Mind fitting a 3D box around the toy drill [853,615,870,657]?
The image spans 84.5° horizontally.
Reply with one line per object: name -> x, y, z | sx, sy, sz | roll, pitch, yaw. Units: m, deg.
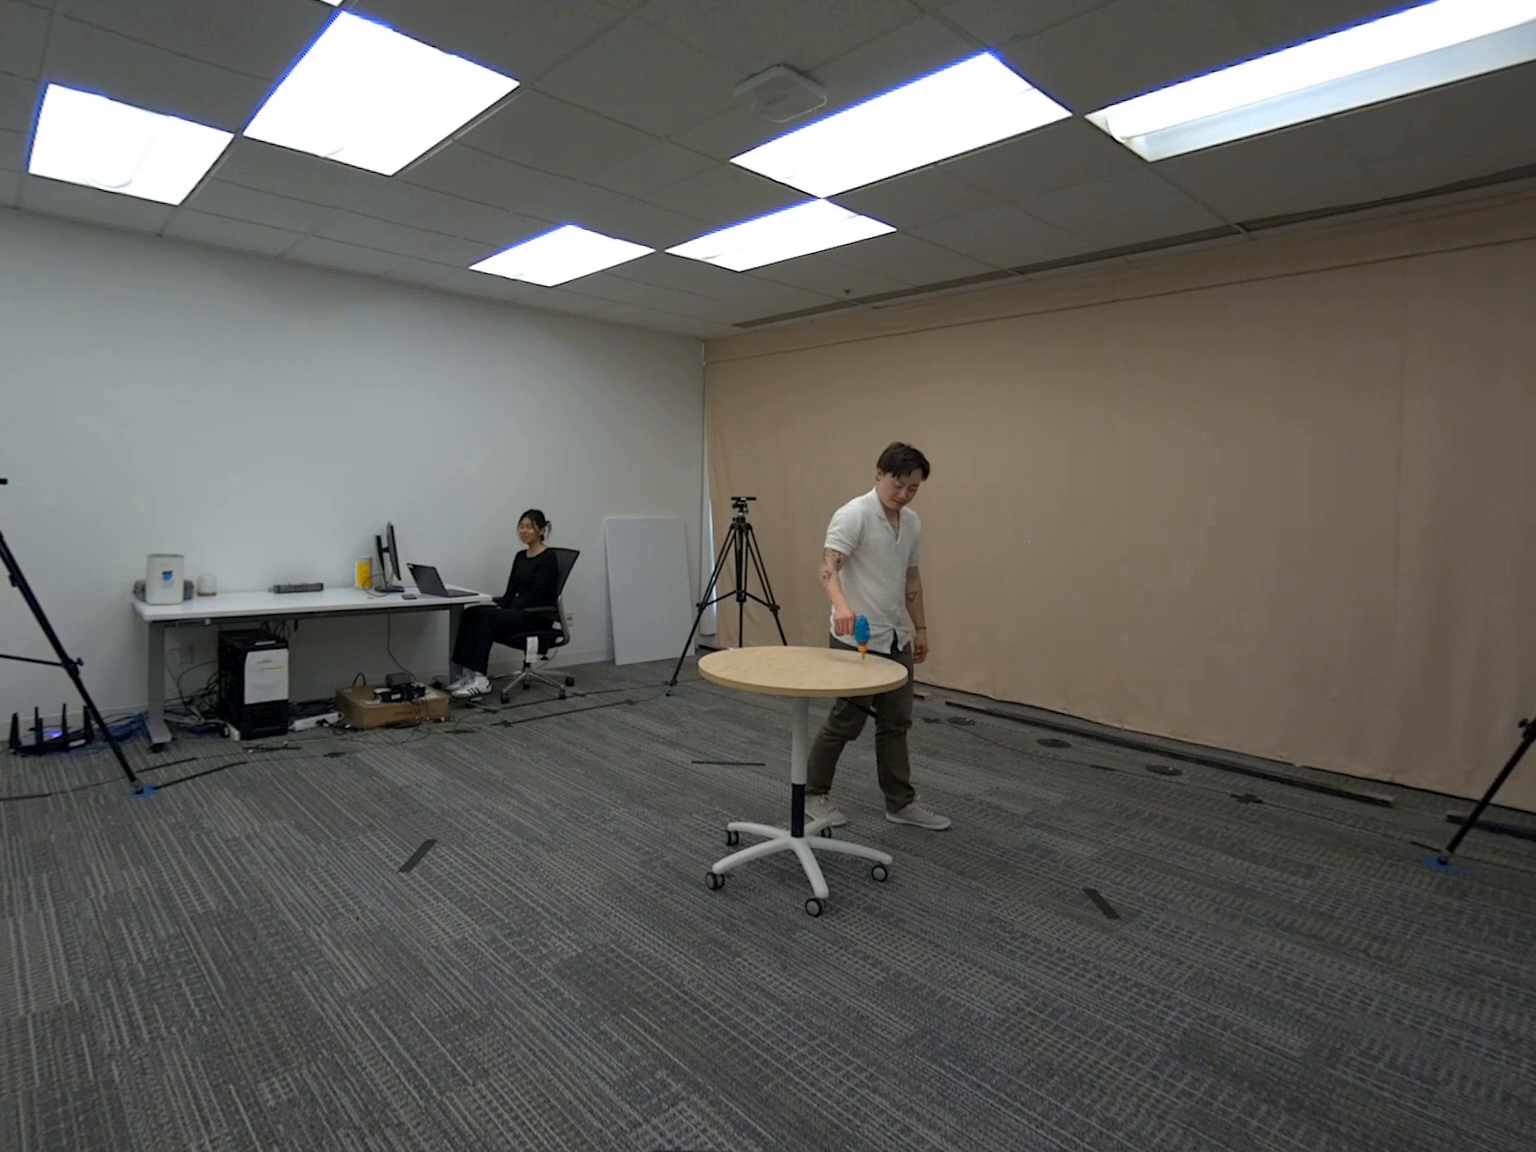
toy drill -> 0.323, 0.235, 3.196 | 0.060, 0.170, 0.149 | -5, 1, -41
